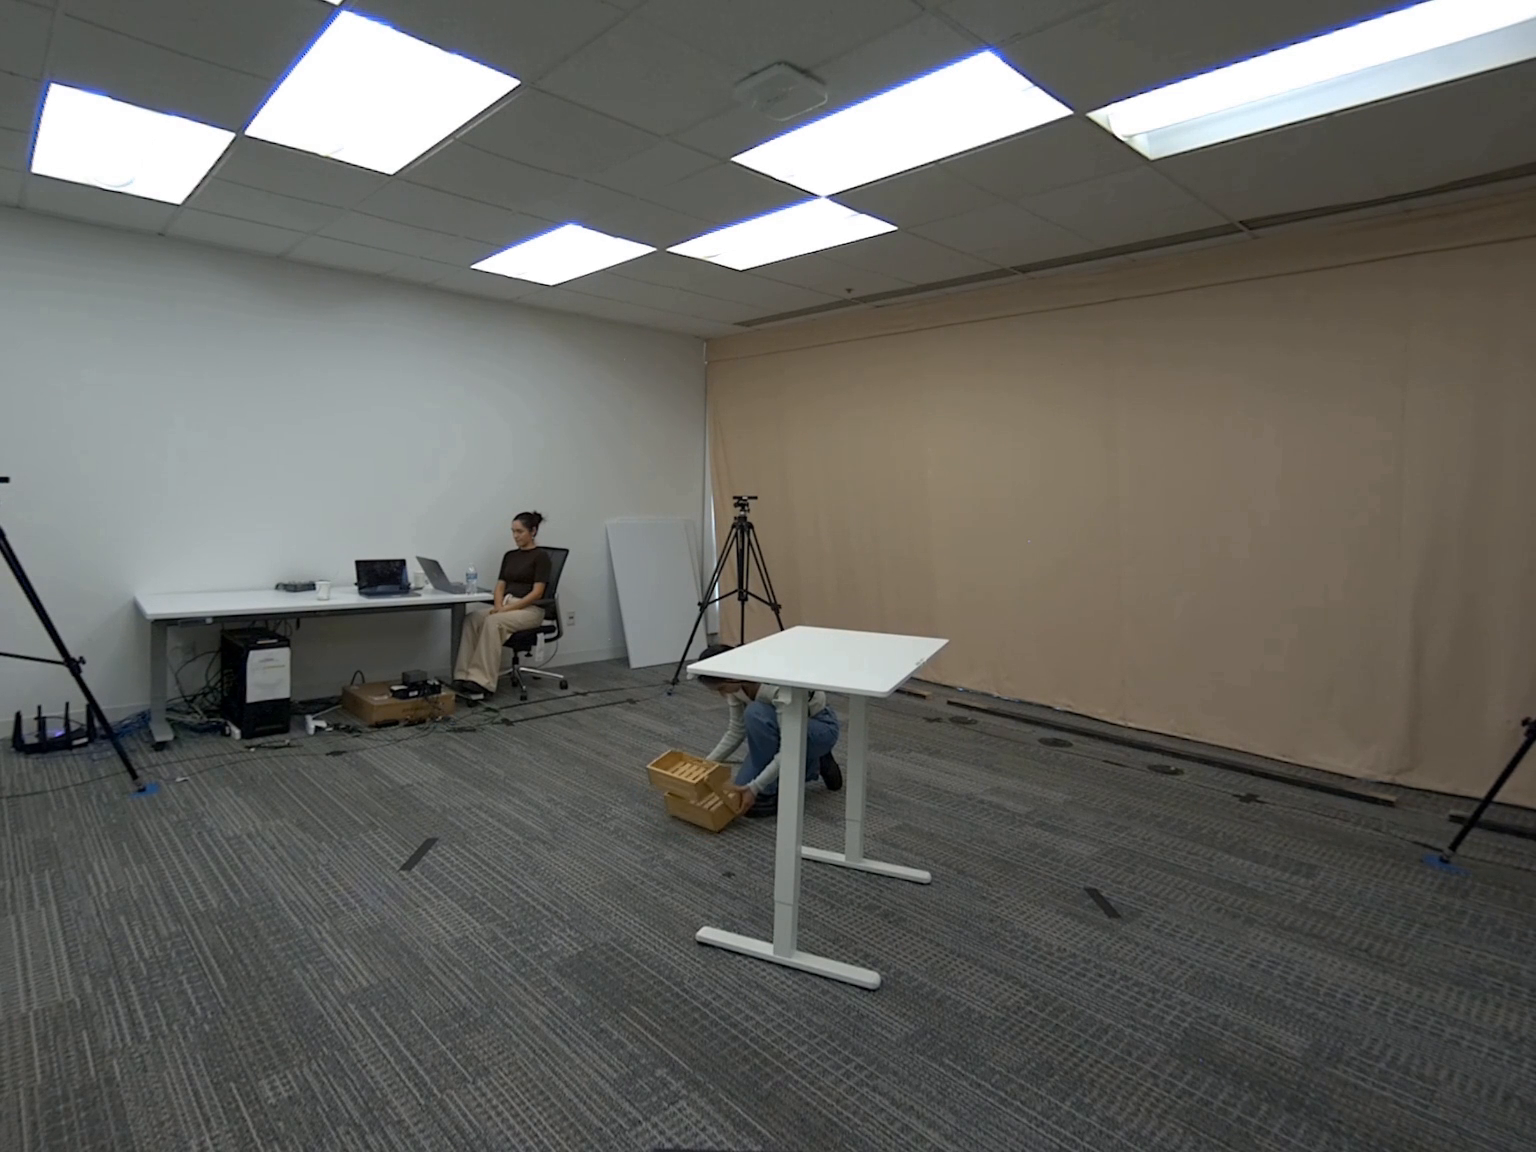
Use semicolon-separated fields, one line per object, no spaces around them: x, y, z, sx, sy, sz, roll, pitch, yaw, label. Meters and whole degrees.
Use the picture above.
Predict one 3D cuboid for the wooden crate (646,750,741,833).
-0.297;0.881;3.590;0.332;0.269;0.298;4;22;43;wooden crate
